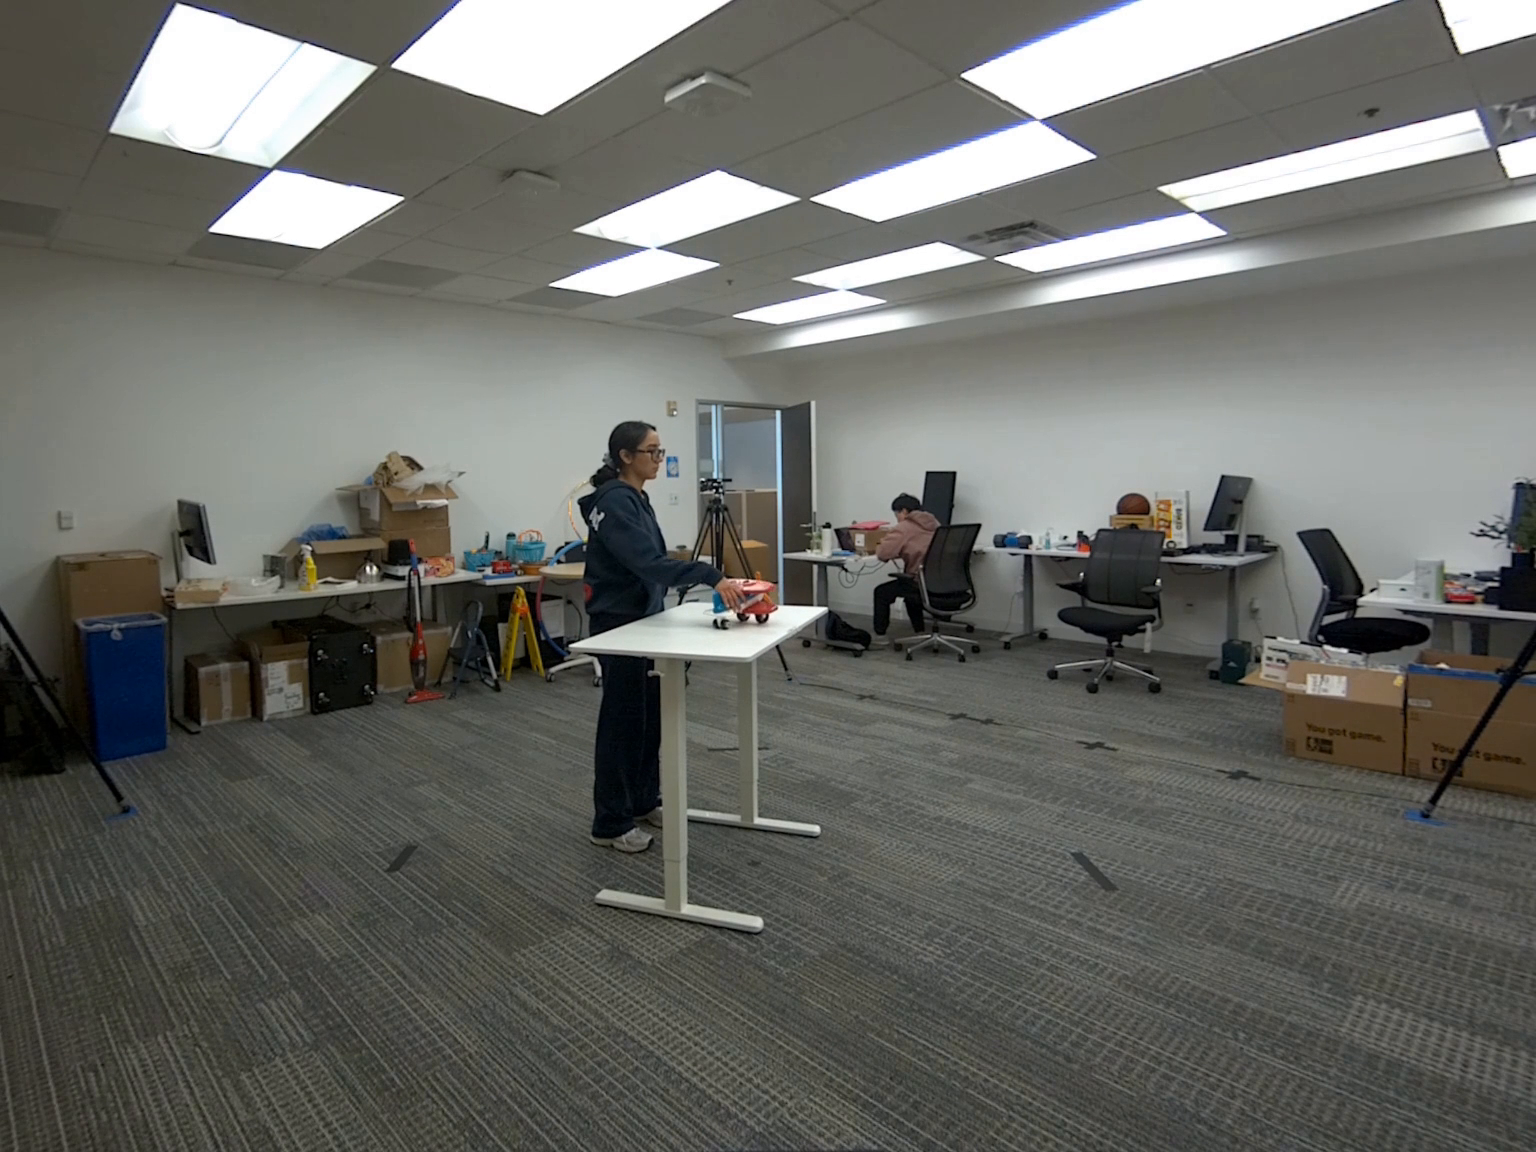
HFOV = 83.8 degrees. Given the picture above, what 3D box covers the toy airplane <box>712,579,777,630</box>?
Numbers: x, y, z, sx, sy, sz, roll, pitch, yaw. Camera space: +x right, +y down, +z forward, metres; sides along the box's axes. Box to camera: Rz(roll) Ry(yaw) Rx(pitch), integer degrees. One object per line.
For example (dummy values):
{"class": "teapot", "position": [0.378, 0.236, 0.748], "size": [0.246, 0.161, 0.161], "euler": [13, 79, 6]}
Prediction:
{"class": "toy airplane", "position": [-0.085, 0.101, 3.004], "size": [0.254, 0.156, 0.257], "euler": [1, 4, 10]}
